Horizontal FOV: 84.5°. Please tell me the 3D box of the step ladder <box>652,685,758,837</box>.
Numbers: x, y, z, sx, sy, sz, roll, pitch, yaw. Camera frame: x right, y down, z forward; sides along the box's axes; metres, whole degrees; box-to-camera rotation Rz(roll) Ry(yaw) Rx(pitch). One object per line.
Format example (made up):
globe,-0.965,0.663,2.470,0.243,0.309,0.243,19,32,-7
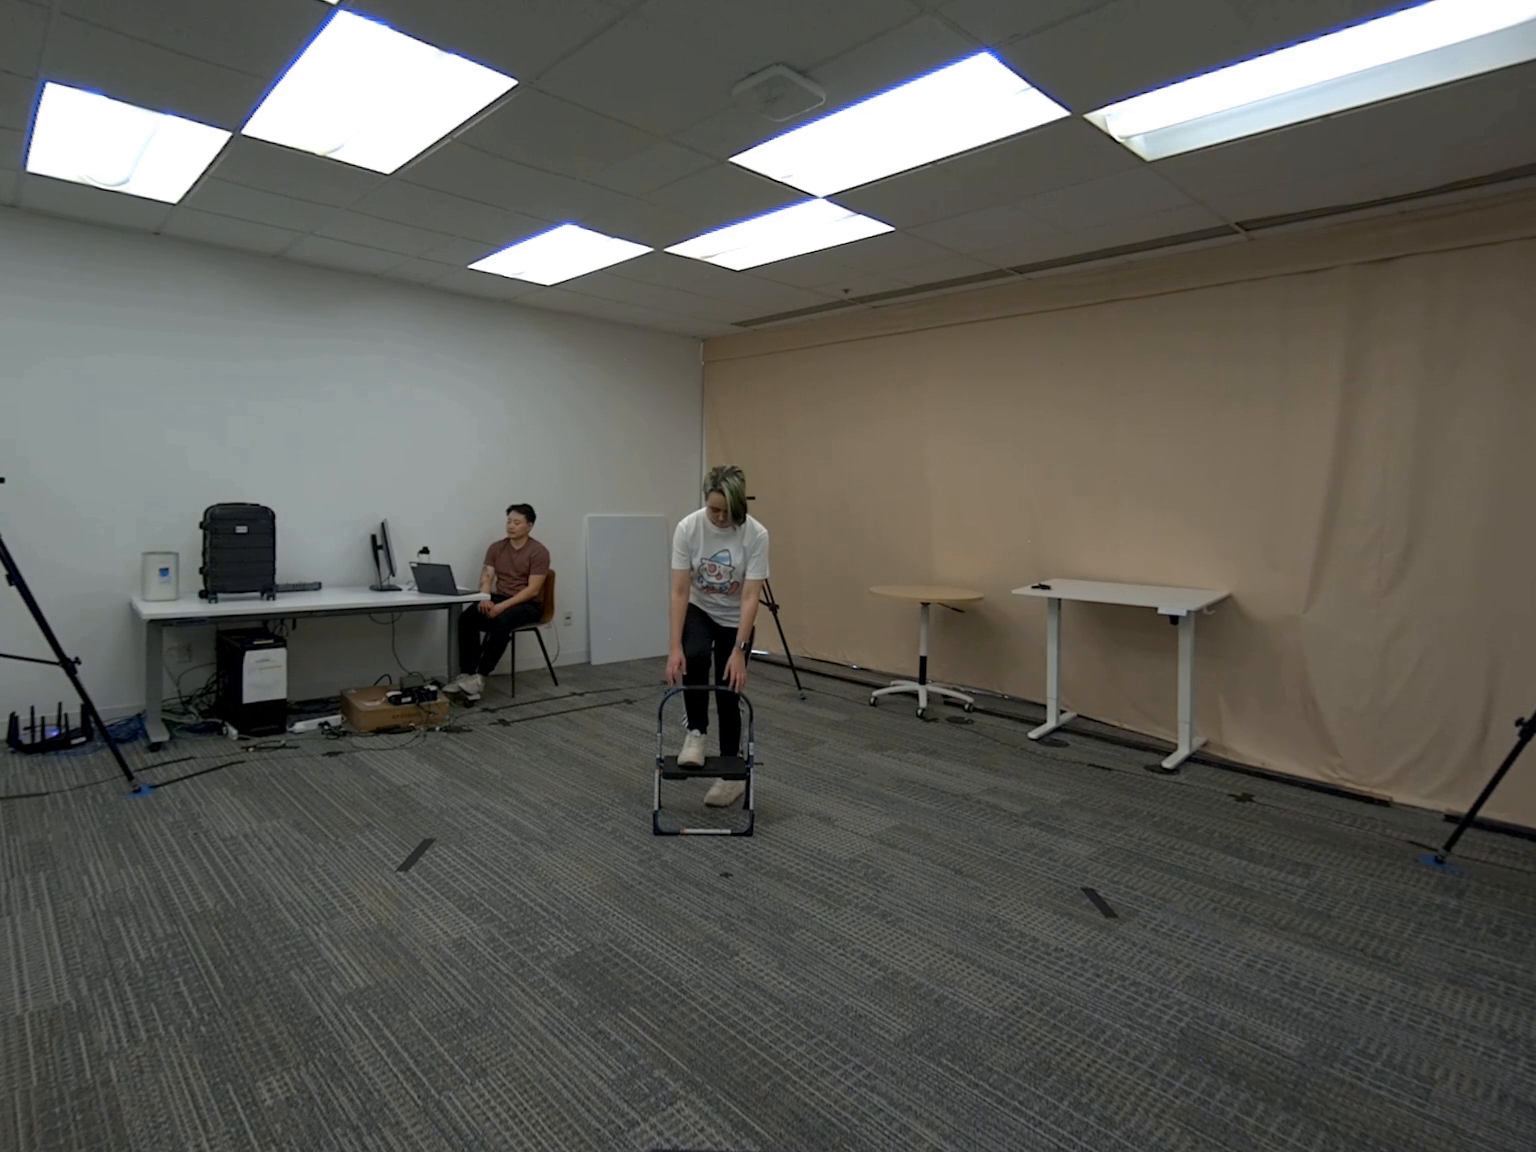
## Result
step ladder,-0.283,0.760,3.614,0.429,0.605,0.351,2,3,-4
